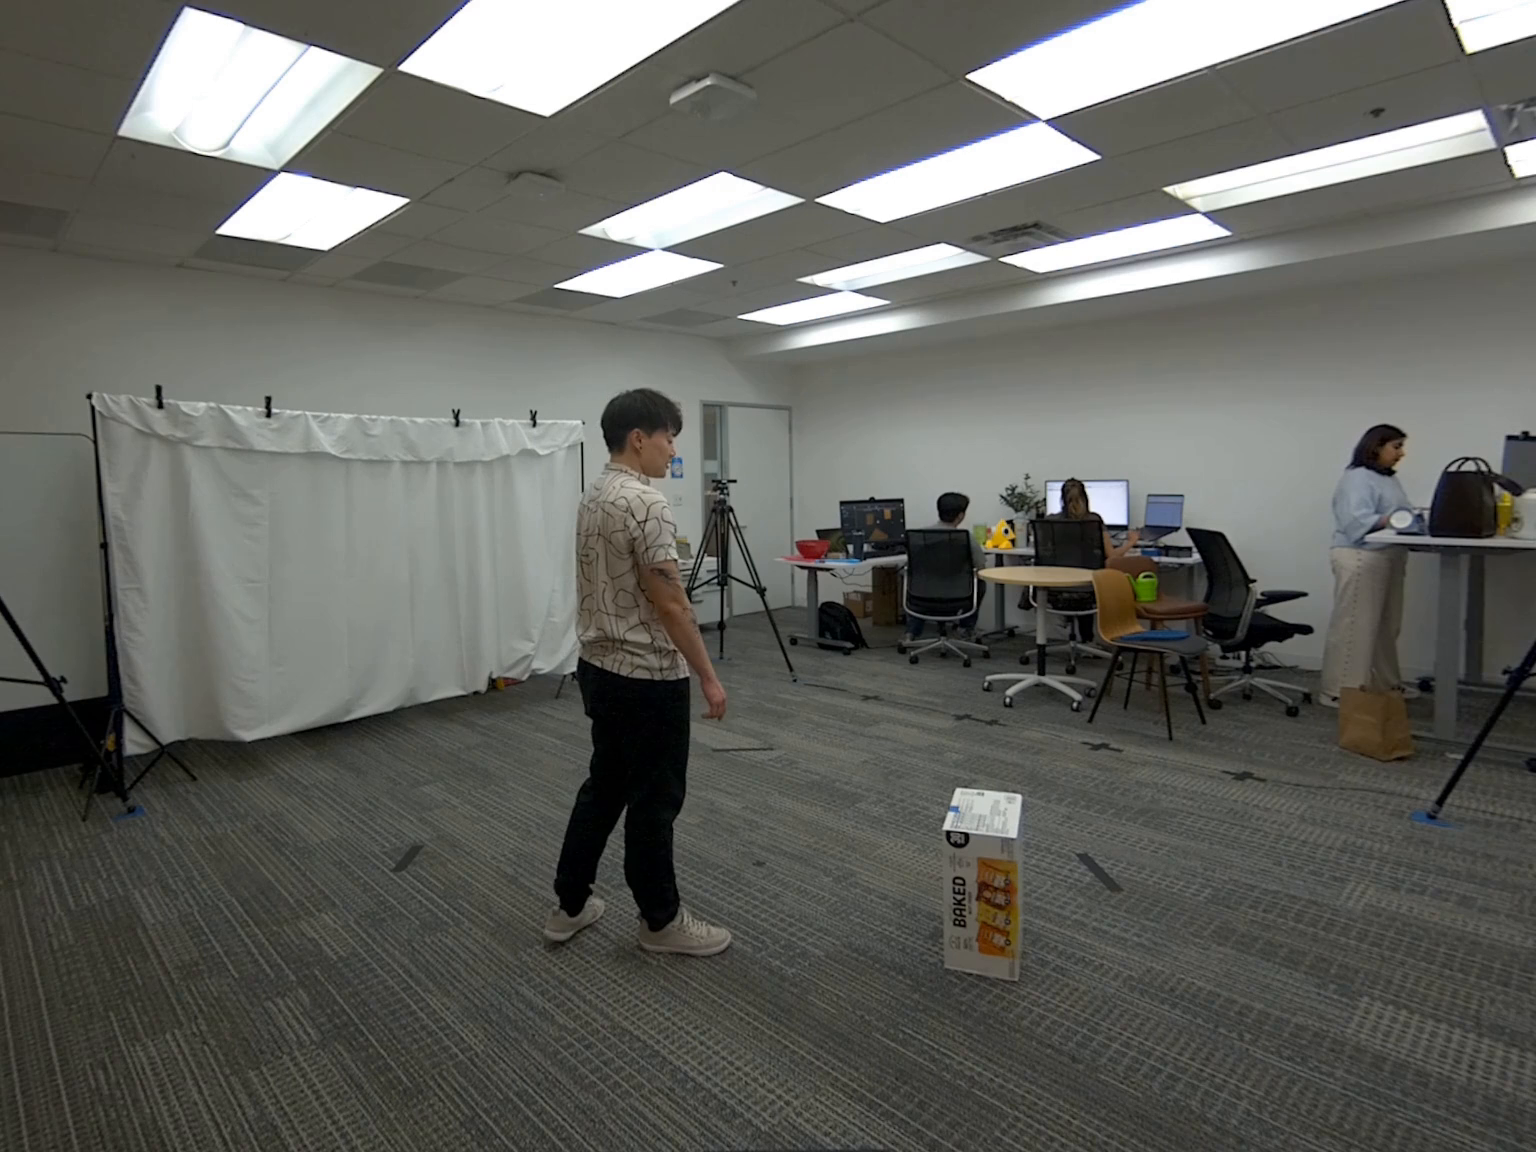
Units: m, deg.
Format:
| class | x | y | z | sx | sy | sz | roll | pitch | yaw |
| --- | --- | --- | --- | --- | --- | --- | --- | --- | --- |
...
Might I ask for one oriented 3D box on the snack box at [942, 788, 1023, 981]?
| class | x | y | z | sx | sy | sz | roll | pitch | yaw |
| --- | --- | --- | --- | --- | --- | --- | --- | --- | --- |
| snack box | 0.652 | 0.898 | 2.534 | 0.209 | 0.404 | 0.335 | 0 | 4 | 19 |
